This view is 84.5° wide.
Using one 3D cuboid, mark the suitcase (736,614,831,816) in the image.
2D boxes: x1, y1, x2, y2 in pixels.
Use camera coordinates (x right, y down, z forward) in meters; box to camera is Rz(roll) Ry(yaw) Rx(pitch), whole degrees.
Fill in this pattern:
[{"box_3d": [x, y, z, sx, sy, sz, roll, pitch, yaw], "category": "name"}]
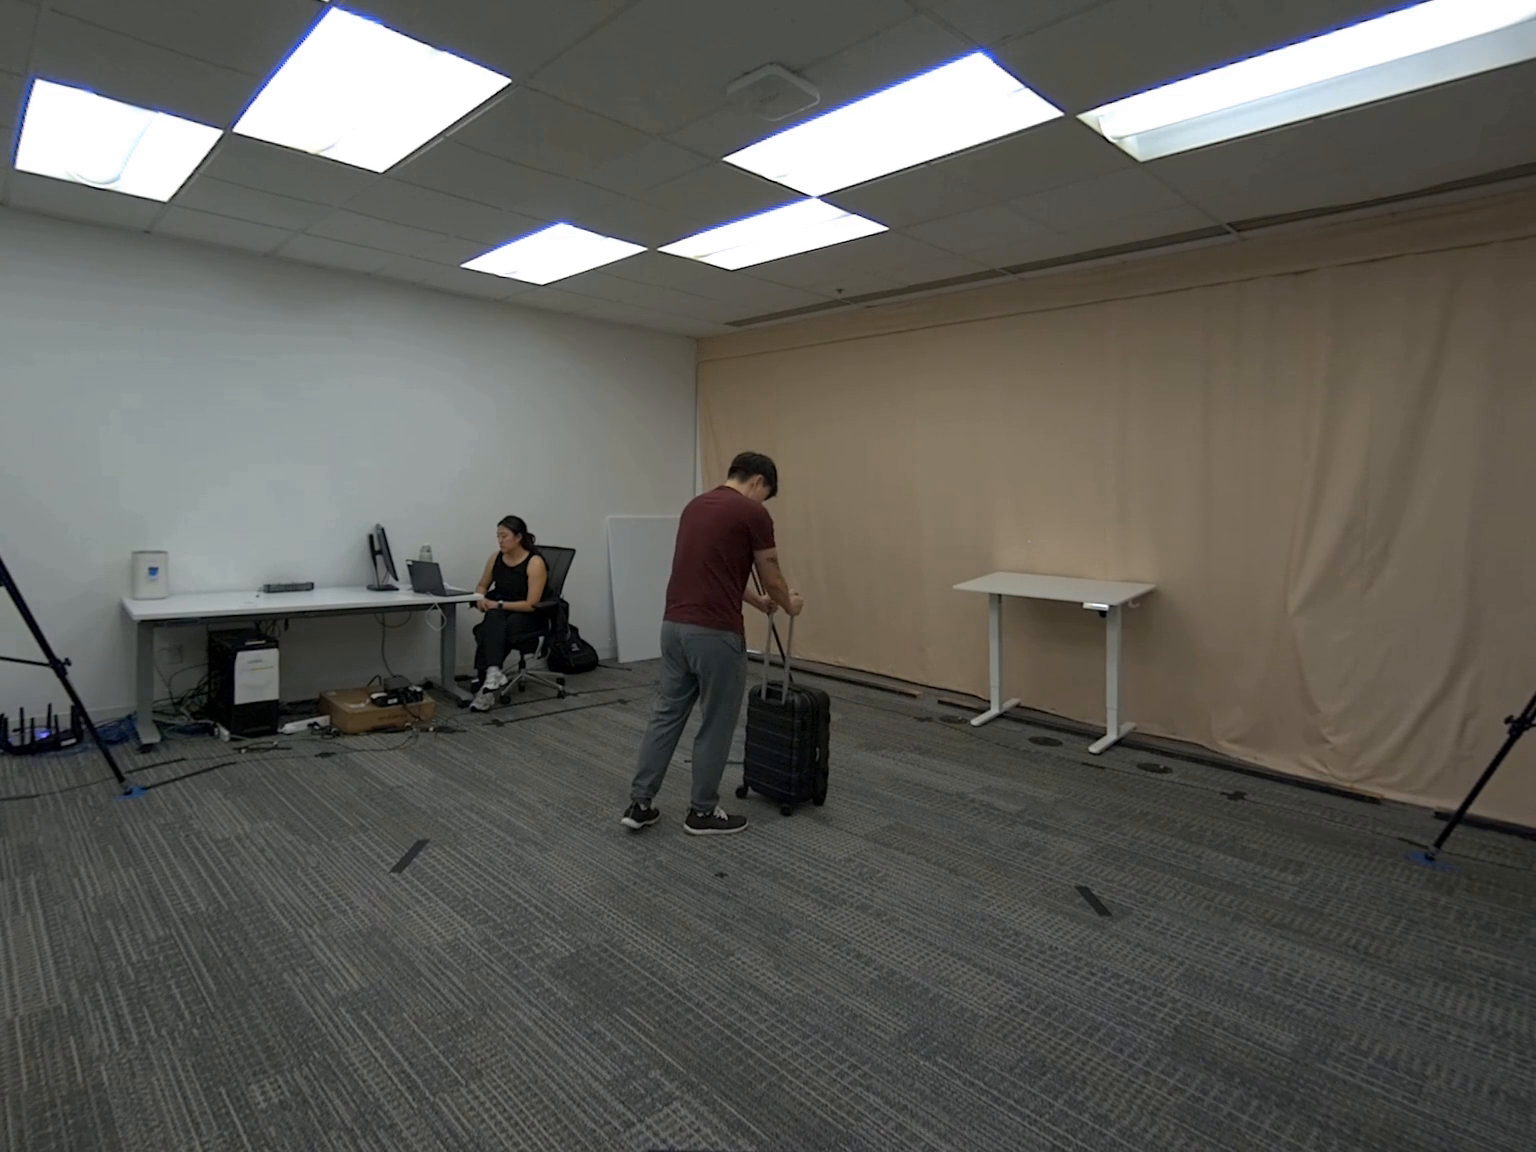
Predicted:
[{"box_3d": [0.096, 0.569, 3.878, 0.251, 0.977, 0.394, 3, 3, -44], "category": "suitcase"}]
